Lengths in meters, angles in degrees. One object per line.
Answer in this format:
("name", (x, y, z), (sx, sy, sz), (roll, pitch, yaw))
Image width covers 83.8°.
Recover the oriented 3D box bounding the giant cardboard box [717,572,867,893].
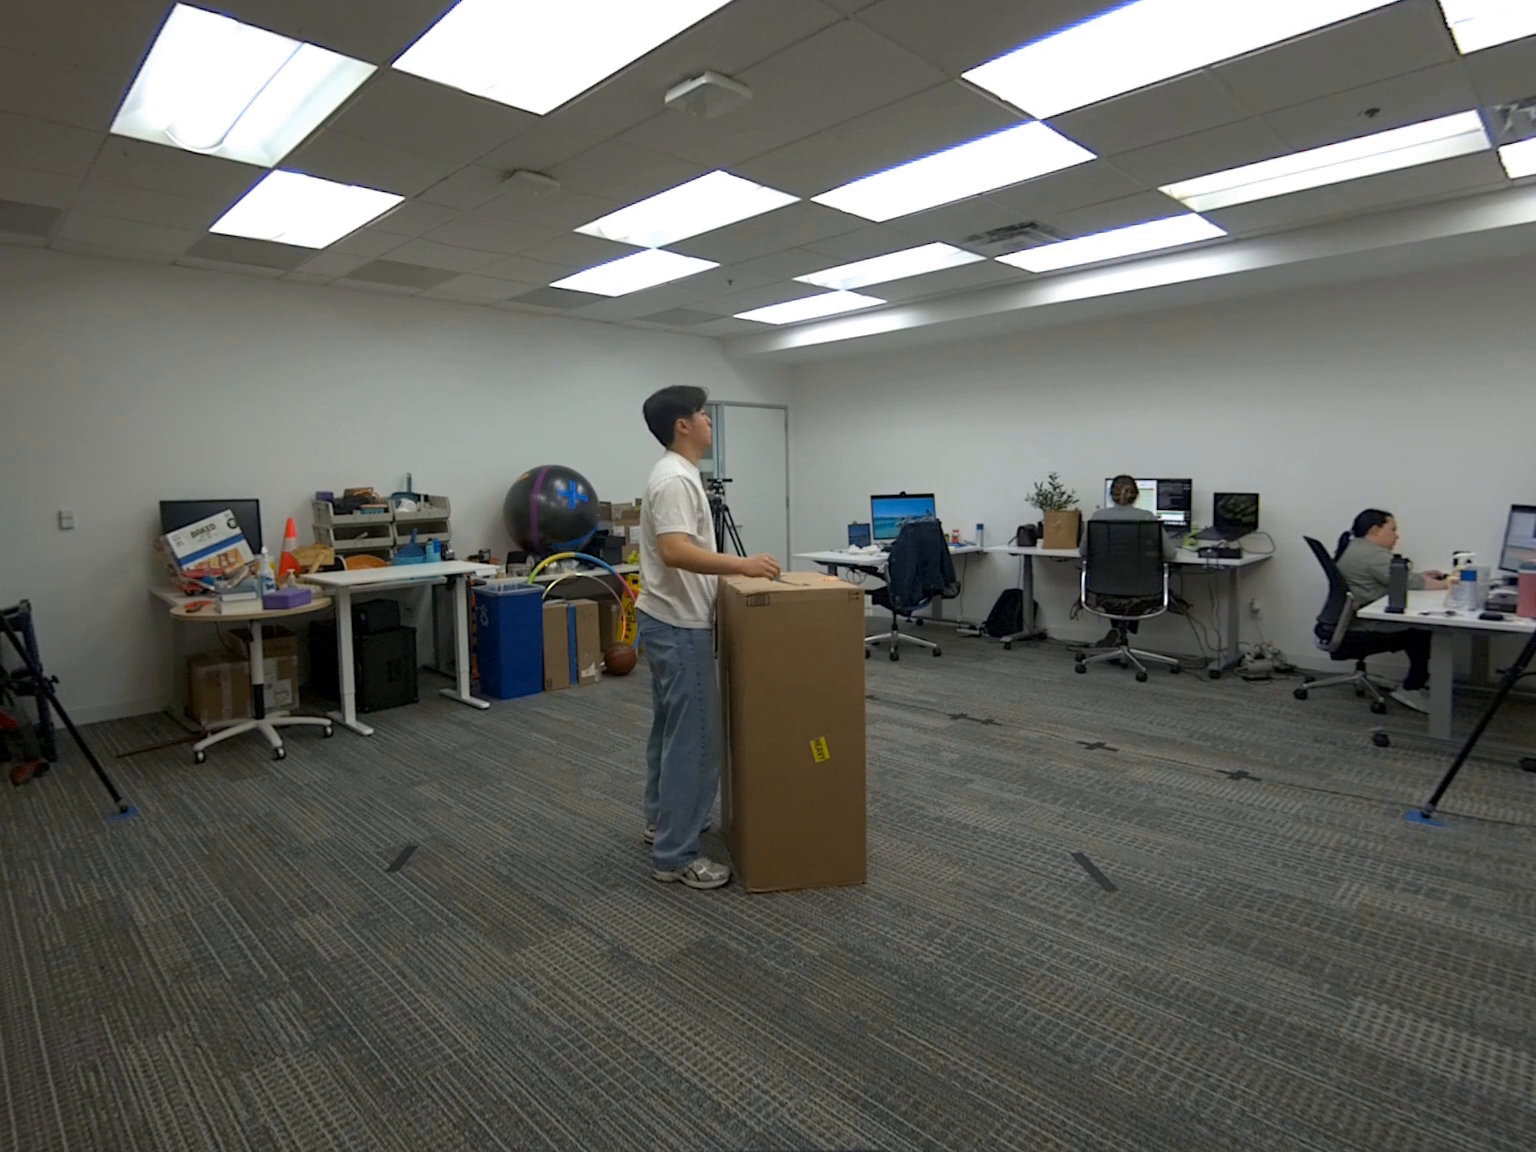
("giant cardboard box", (0.073, 0.524, 3.155), (0.422, 1.023, 0.585), (-1, 4, -11))
